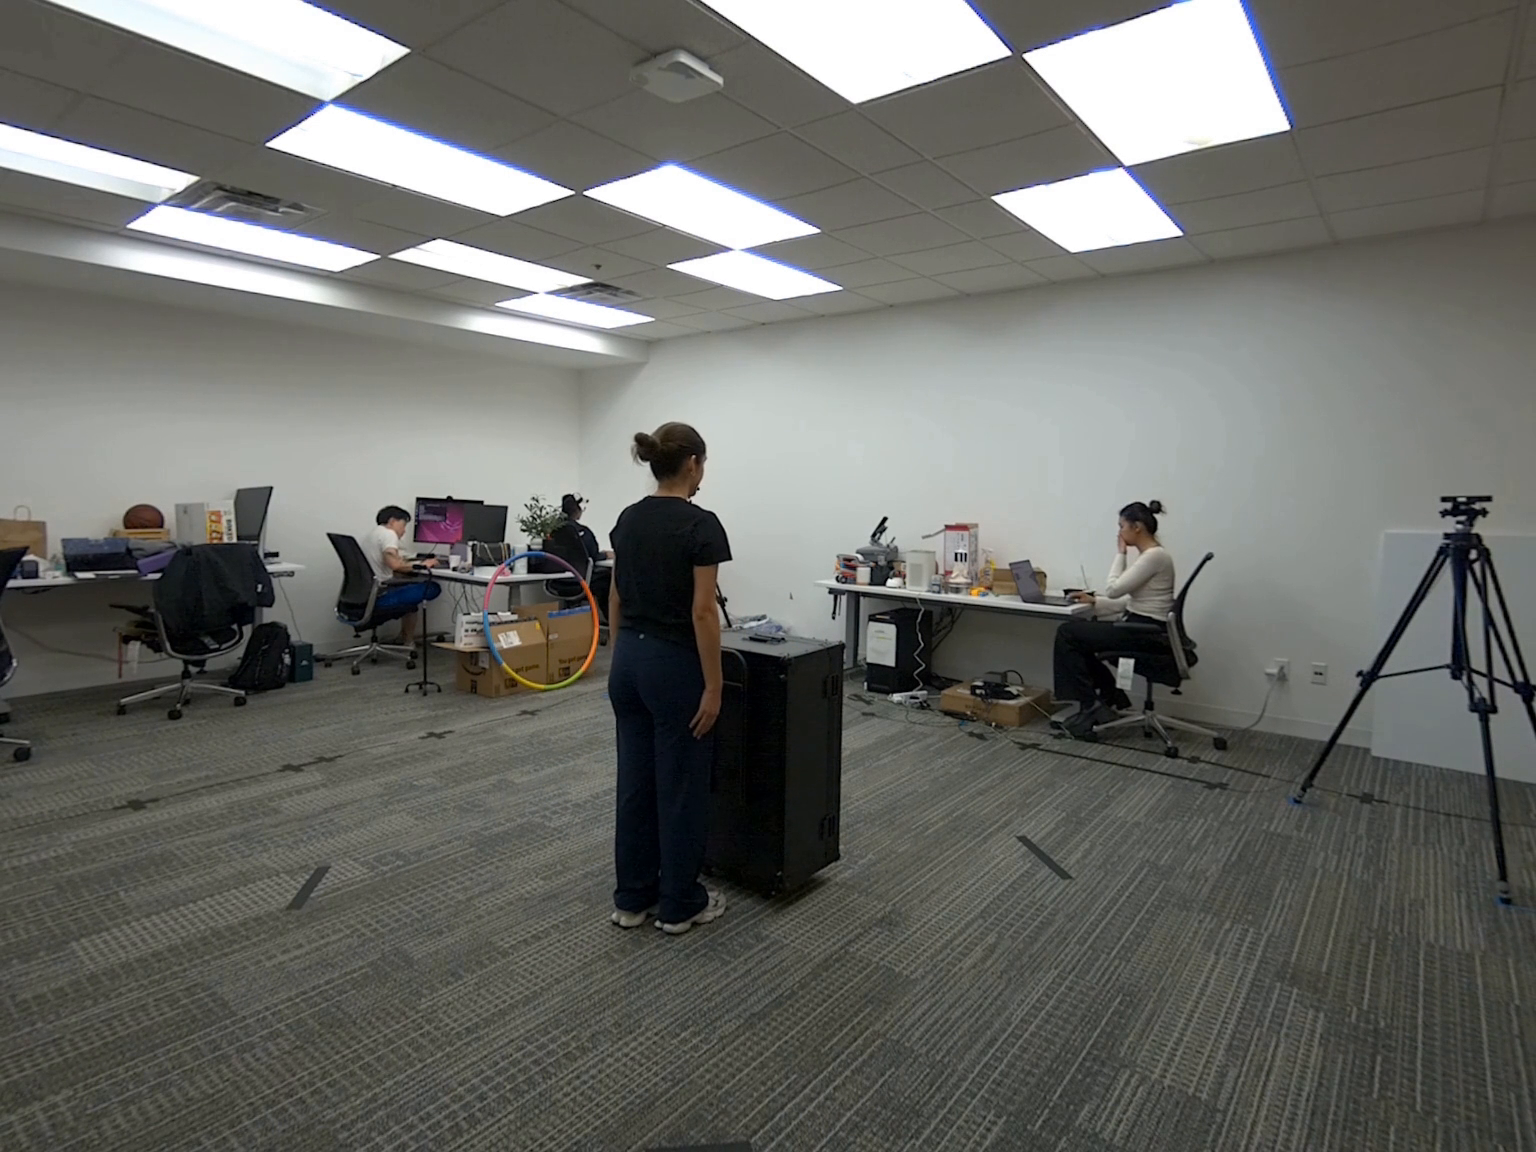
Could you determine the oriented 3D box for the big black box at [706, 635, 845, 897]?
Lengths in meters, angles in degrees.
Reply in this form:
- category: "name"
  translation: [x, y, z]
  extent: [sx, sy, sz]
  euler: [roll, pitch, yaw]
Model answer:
- category: "big black box"
  translation: [-0.020, 0.651, 3.041]
  extent: [0.538, 0.858, 0.385]
  euler: [4, 5, 38]
